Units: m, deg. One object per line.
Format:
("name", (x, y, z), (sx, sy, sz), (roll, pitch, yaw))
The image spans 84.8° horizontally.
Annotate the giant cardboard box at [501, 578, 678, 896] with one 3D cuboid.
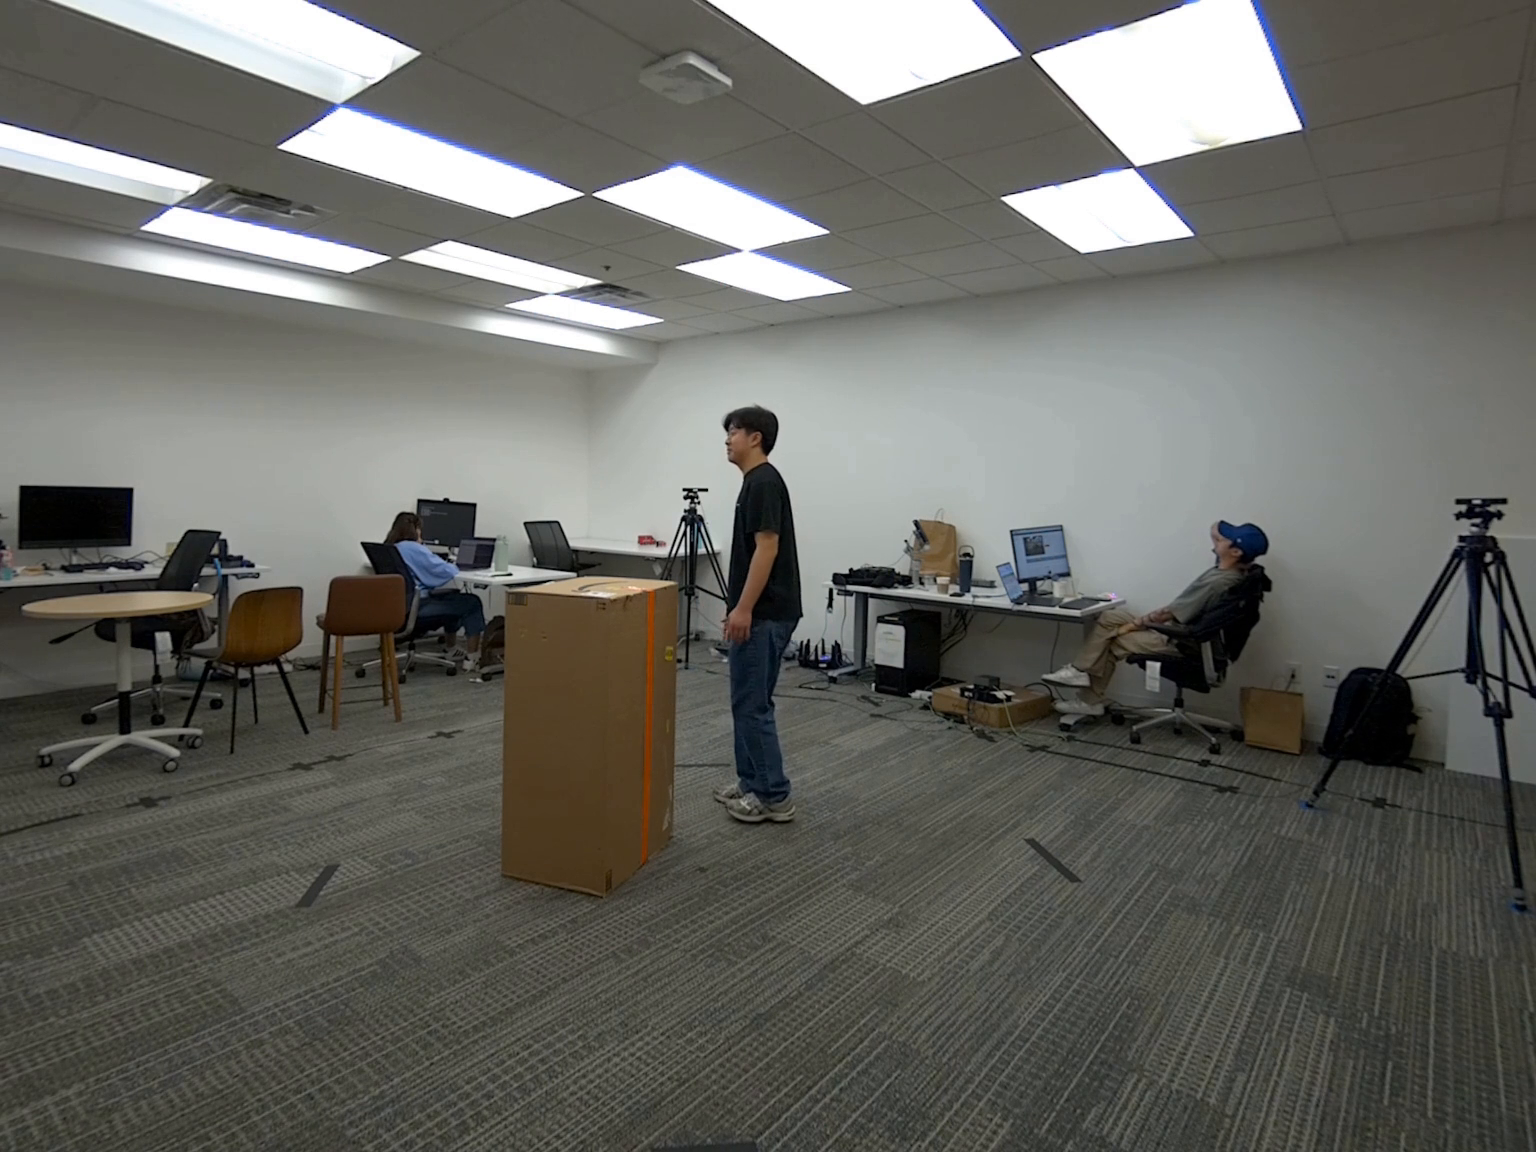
("giant cardboard box", (-0.659, 0.542, 3.191), (0.457, 1.024, 0.572), (3, 3, 20))
